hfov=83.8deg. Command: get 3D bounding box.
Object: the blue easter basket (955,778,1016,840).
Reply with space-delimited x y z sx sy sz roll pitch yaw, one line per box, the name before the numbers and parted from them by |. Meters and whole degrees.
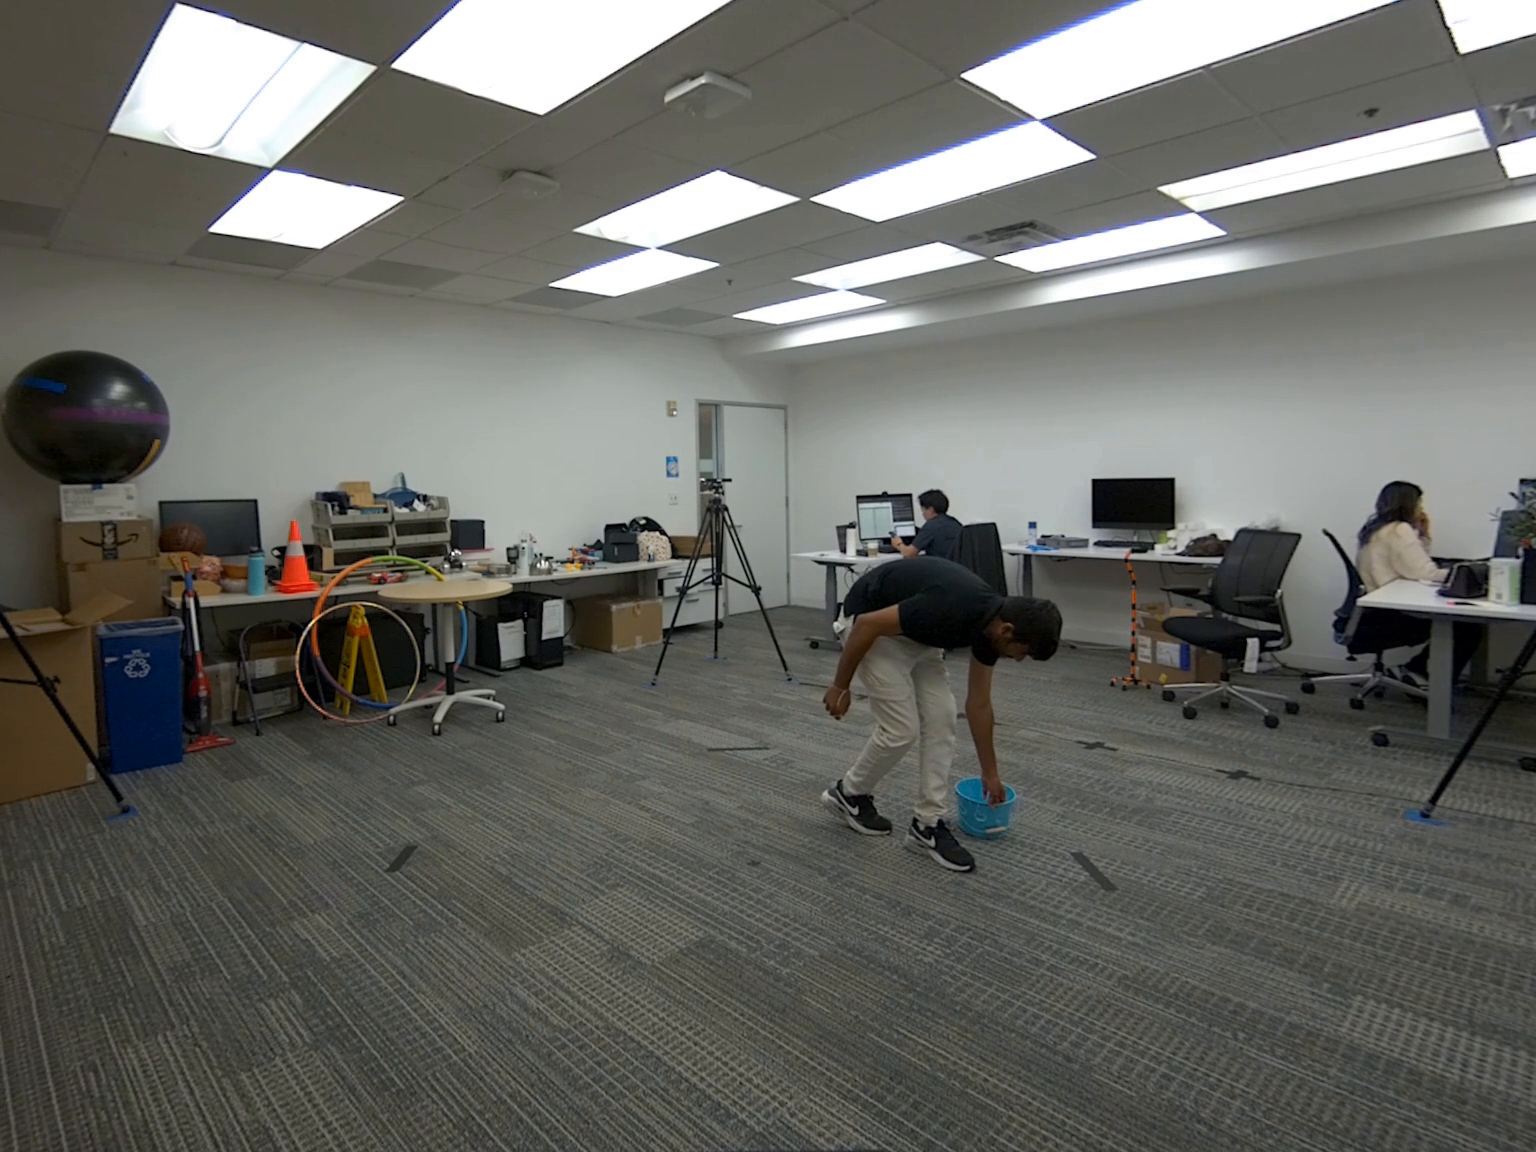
blue easter basket | 0.848 0.916 3.360 0.243 0.155 0.246 1 9 -2
